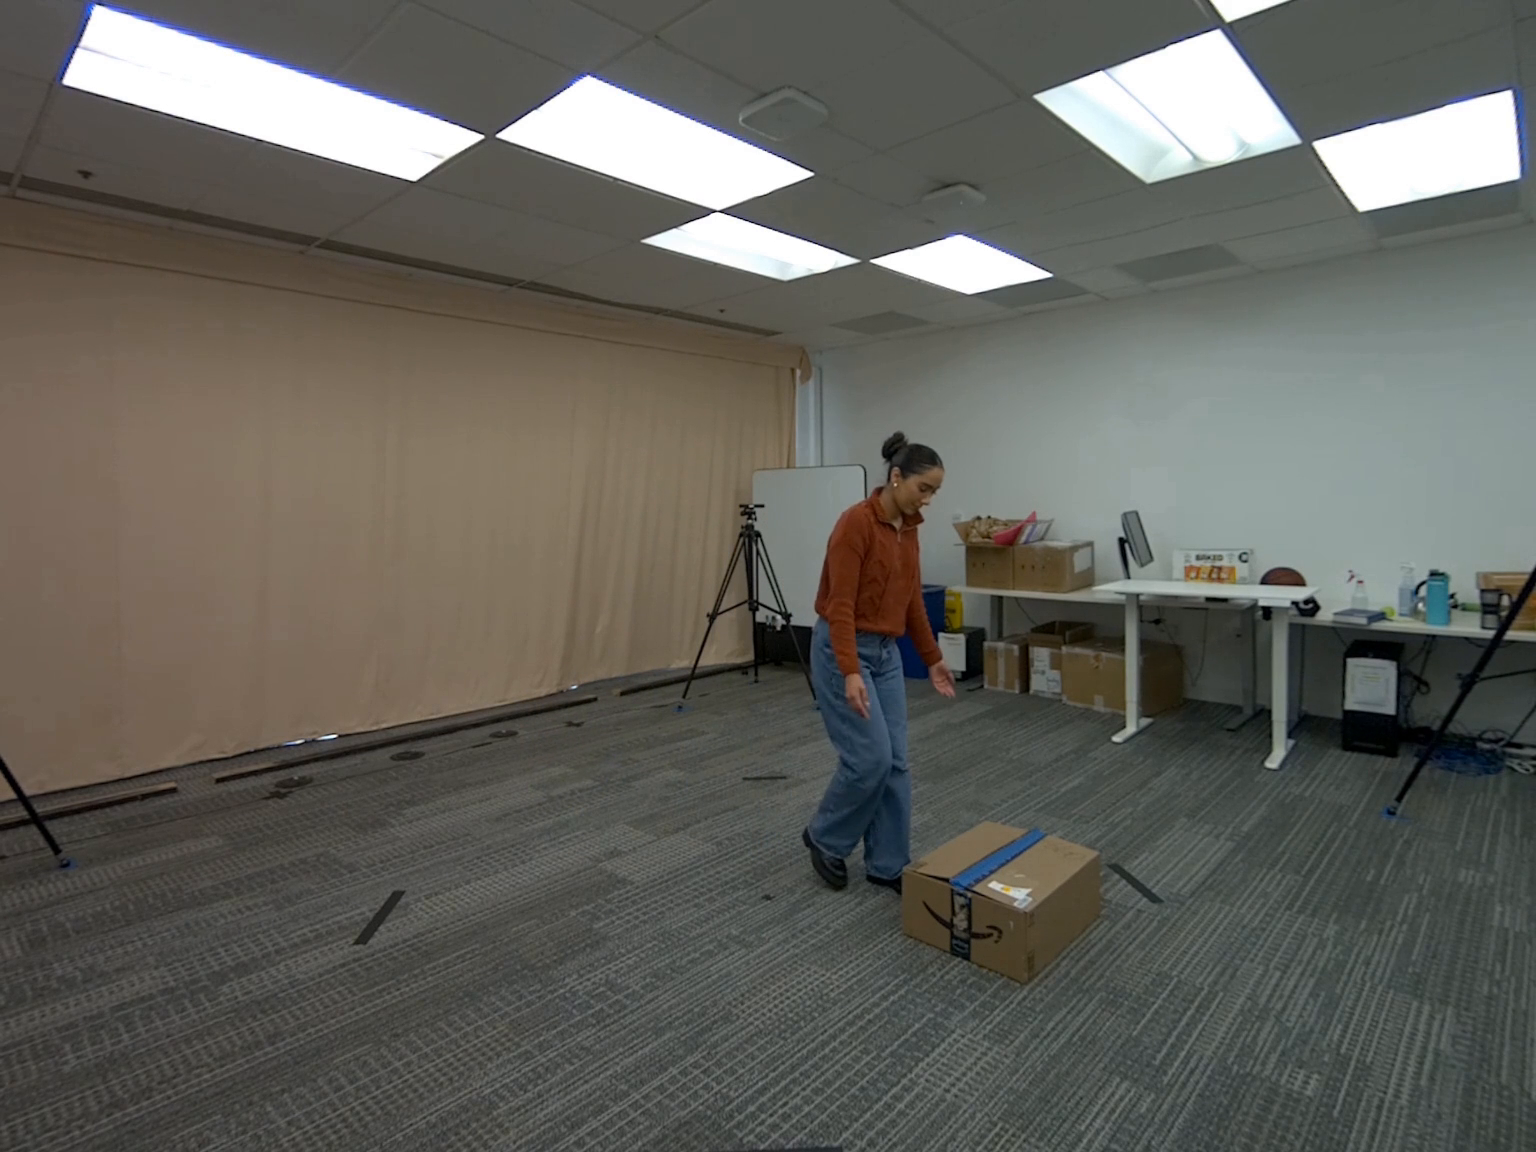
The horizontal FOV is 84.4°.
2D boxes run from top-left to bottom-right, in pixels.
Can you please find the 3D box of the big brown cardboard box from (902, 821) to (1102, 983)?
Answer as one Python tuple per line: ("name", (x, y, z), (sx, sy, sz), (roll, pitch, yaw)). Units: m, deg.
("big brown cardboard box", (0.775, 1.035, 2.748), (0.431, 0.232, 0.571), (3, 6, 43))
